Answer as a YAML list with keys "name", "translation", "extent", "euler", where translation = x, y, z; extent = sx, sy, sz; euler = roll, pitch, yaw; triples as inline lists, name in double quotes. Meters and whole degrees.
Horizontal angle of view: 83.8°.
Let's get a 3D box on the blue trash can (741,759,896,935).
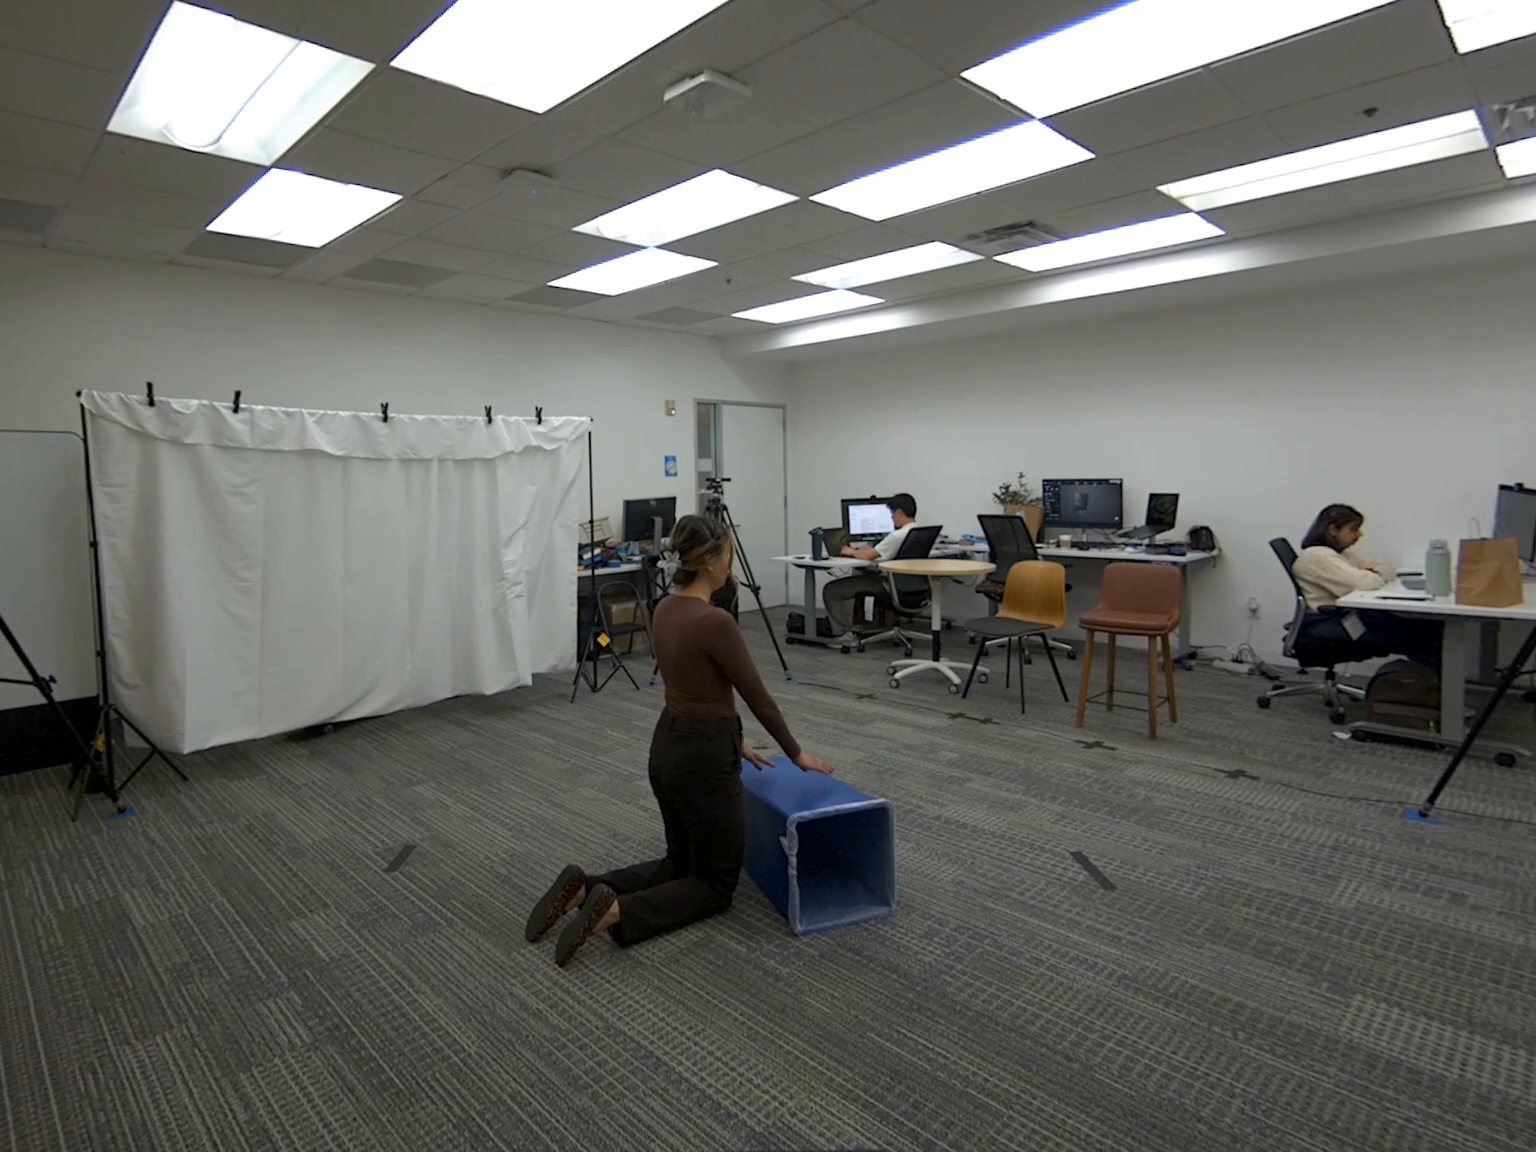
- name: "blue trash can"
  translation: [0.104, 0.878, 2.989]
  extent: [0.367, 0.377, 0.728]
  euler: [-4, 5, -21]
